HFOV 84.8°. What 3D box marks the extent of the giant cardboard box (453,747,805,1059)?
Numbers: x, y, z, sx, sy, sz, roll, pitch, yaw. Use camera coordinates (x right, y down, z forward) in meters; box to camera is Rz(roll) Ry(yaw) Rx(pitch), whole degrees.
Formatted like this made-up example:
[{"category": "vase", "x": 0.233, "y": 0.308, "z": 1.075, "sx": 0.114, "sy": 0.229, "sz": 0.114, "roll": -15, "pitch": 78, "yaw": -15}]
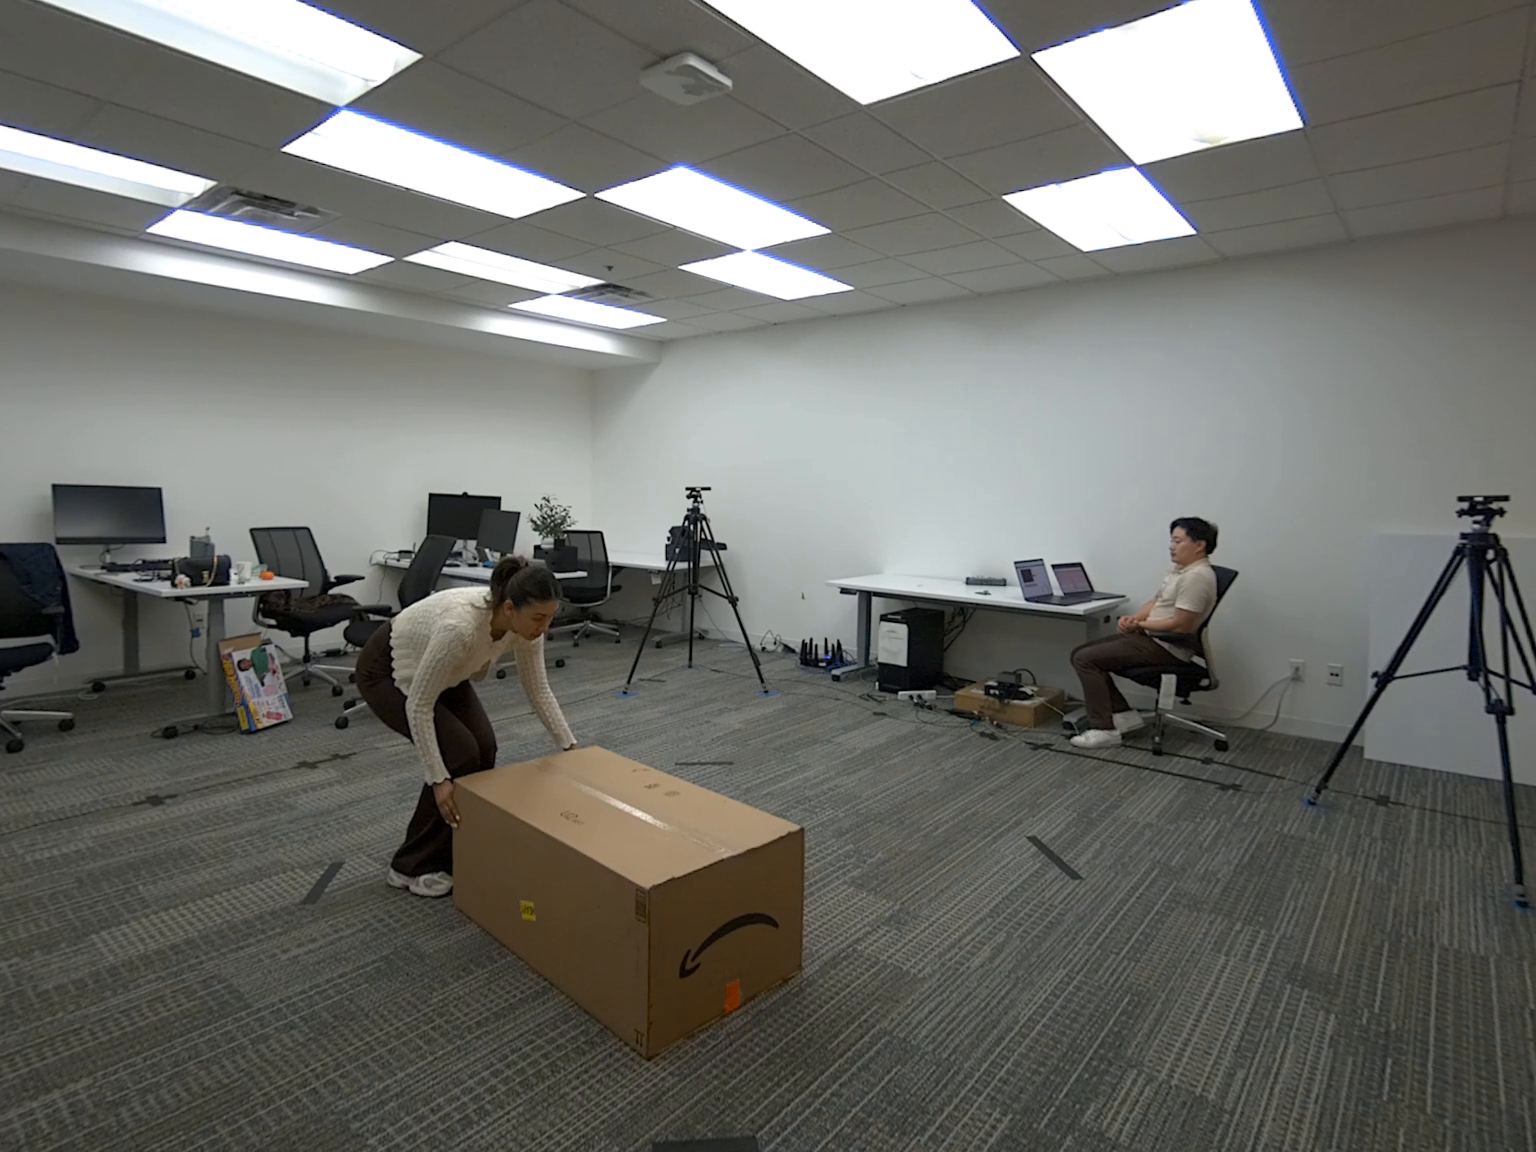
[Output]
[{"category": "giant cardboard box", "x": -0.471, "y": 0.900, "z": 2.609, "sx": 1.061, "sy": 0.424, "sz": 0.560, "roll": 6, "pitch": 7, "yaw": 44}]
